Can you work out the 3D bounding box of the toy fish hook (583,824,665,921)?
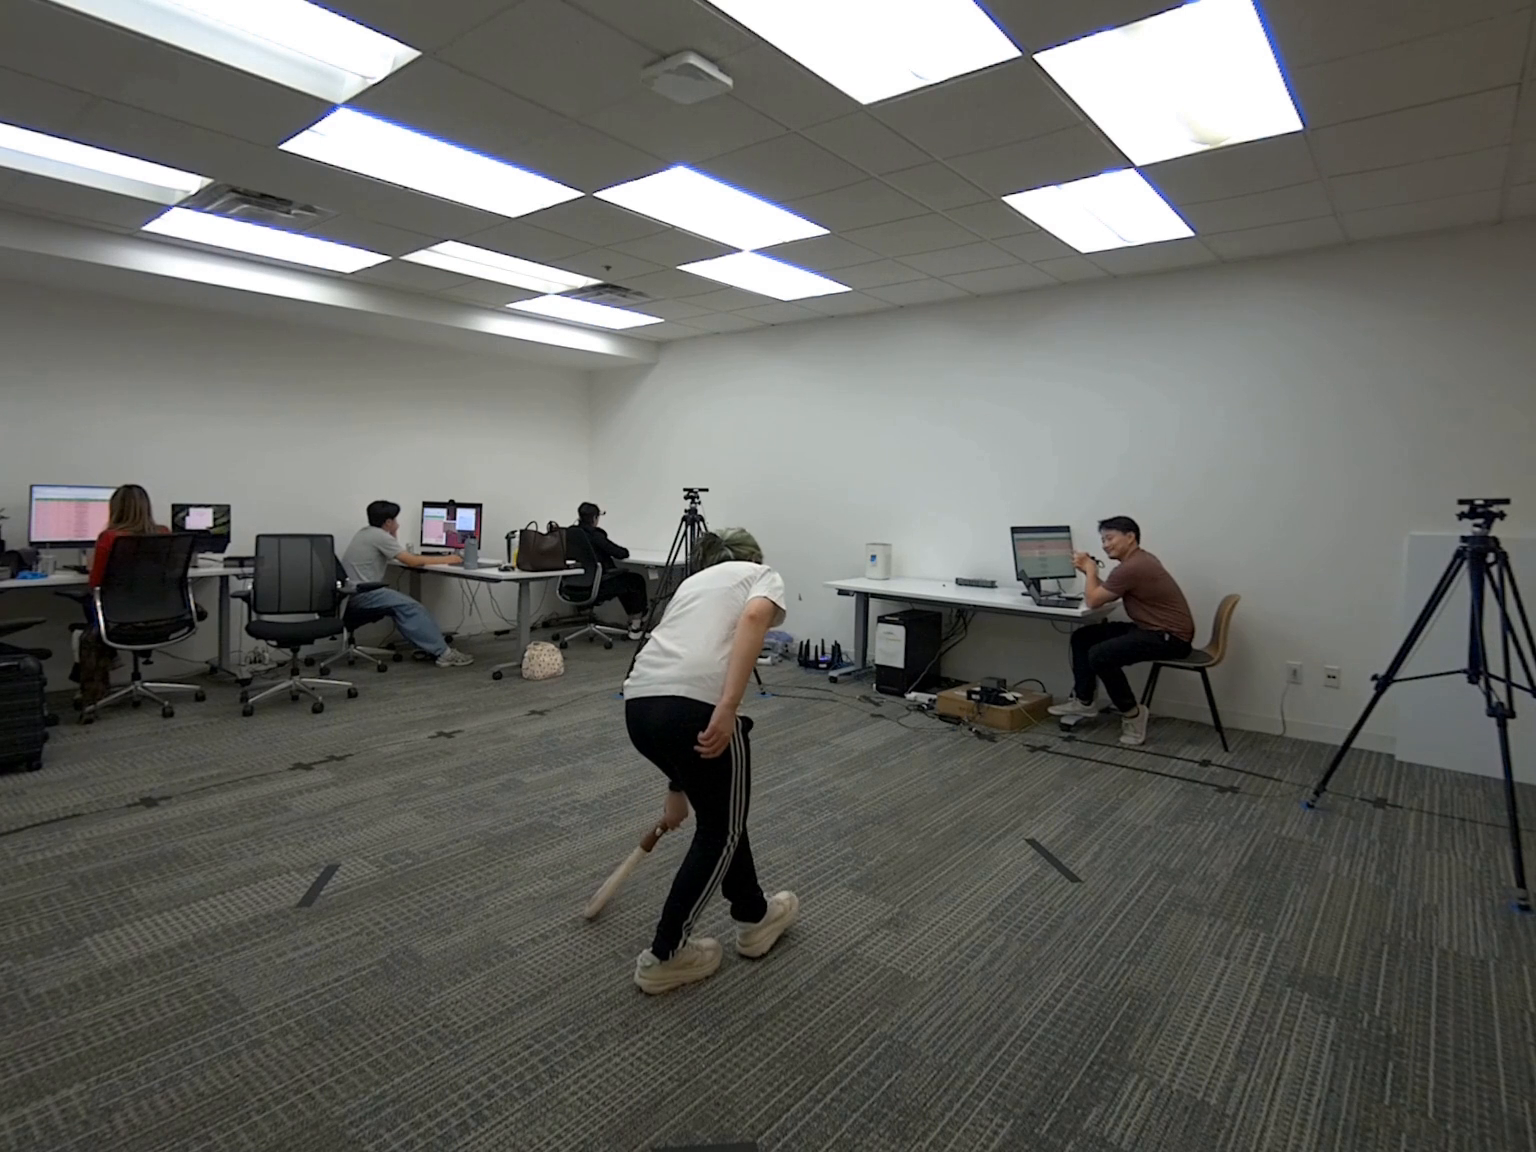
[{"bbox_3d":[-0.436,0.900,2.761,0.048,0.506,0.225,40,7,-3],"label":"toy fish hook"}]
